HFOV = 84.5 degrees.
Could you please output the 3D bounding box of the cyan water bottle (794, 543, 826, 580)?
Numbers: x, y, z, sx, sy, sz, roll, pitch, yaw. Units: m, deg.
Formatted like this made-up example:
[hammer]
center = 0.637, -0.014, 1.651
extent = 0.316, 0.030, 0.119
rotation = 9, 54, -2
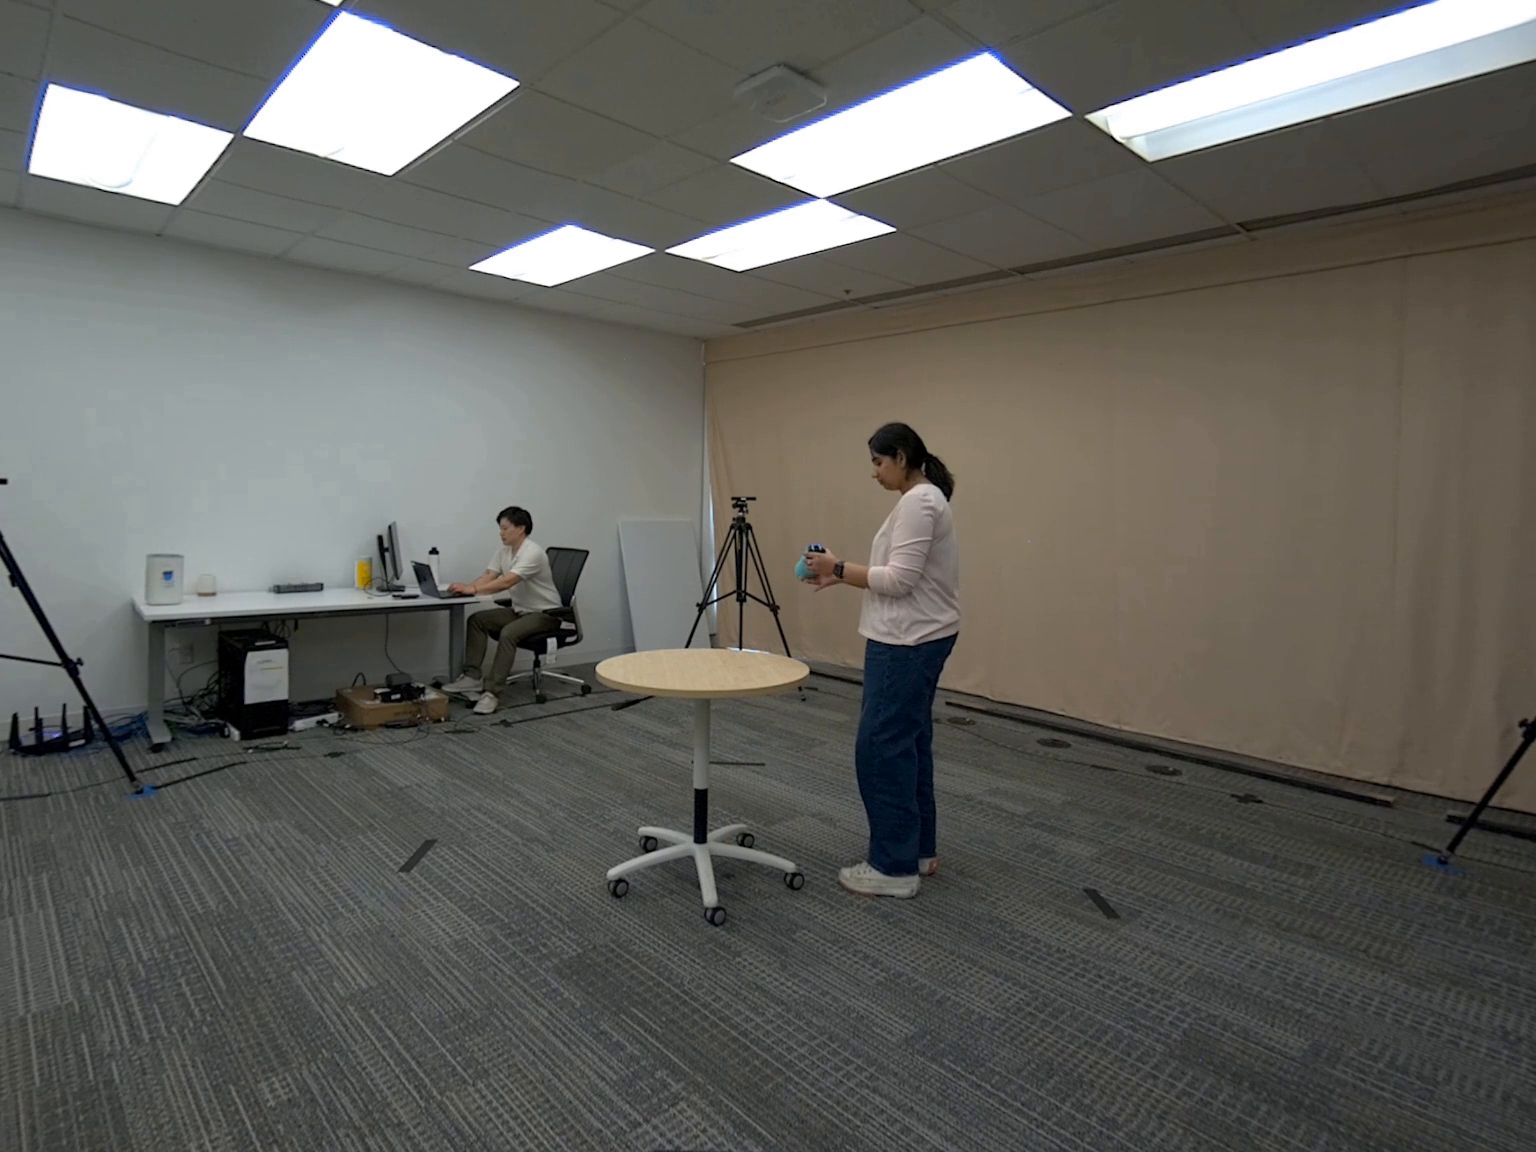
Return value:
[cyan water bottle]
center = 0.161, -0.051, 3.260
extent = 0.092, 0.093, 0.280
rotation = 2, -14, -2
